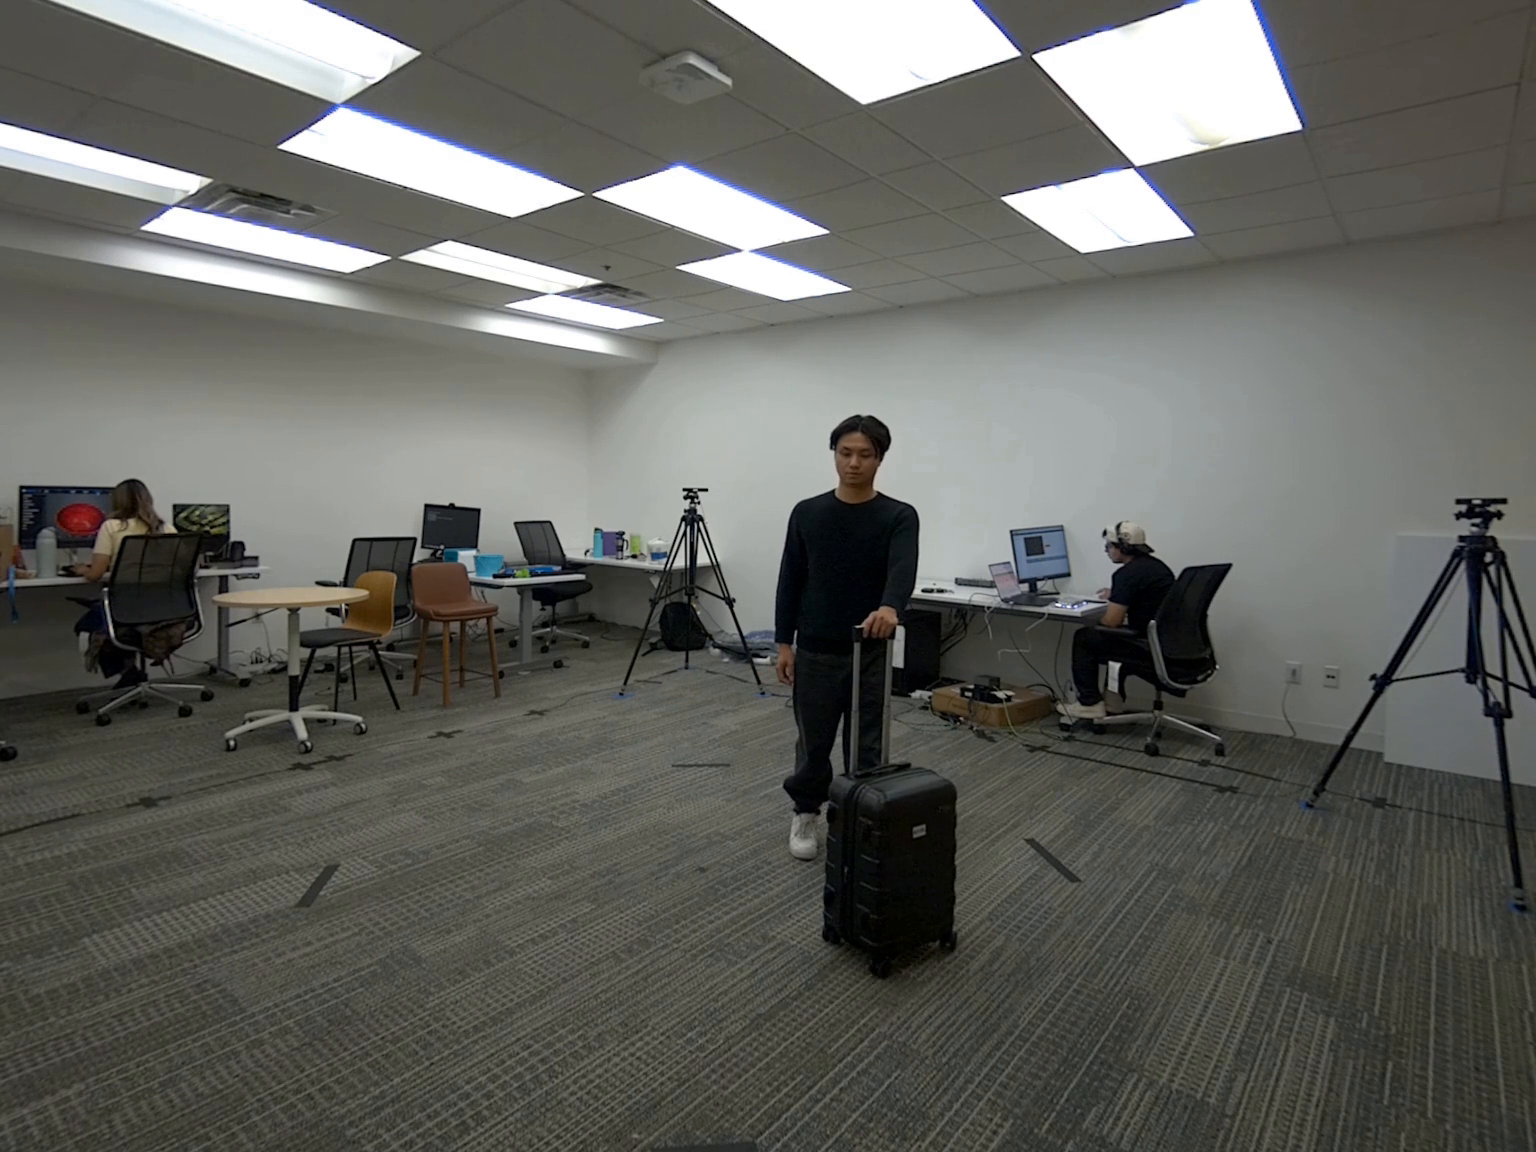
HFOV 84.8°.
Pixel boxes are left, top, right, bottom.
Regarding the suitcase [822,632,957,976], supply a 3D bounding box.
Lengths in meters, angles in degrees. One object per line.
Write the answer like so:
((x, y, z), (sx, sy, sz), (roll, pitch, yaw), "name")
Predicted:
((0.381, 0.655, 2.575), (0.374, 0.973, 0.265), (-2, 7, -31), "suitcase")
